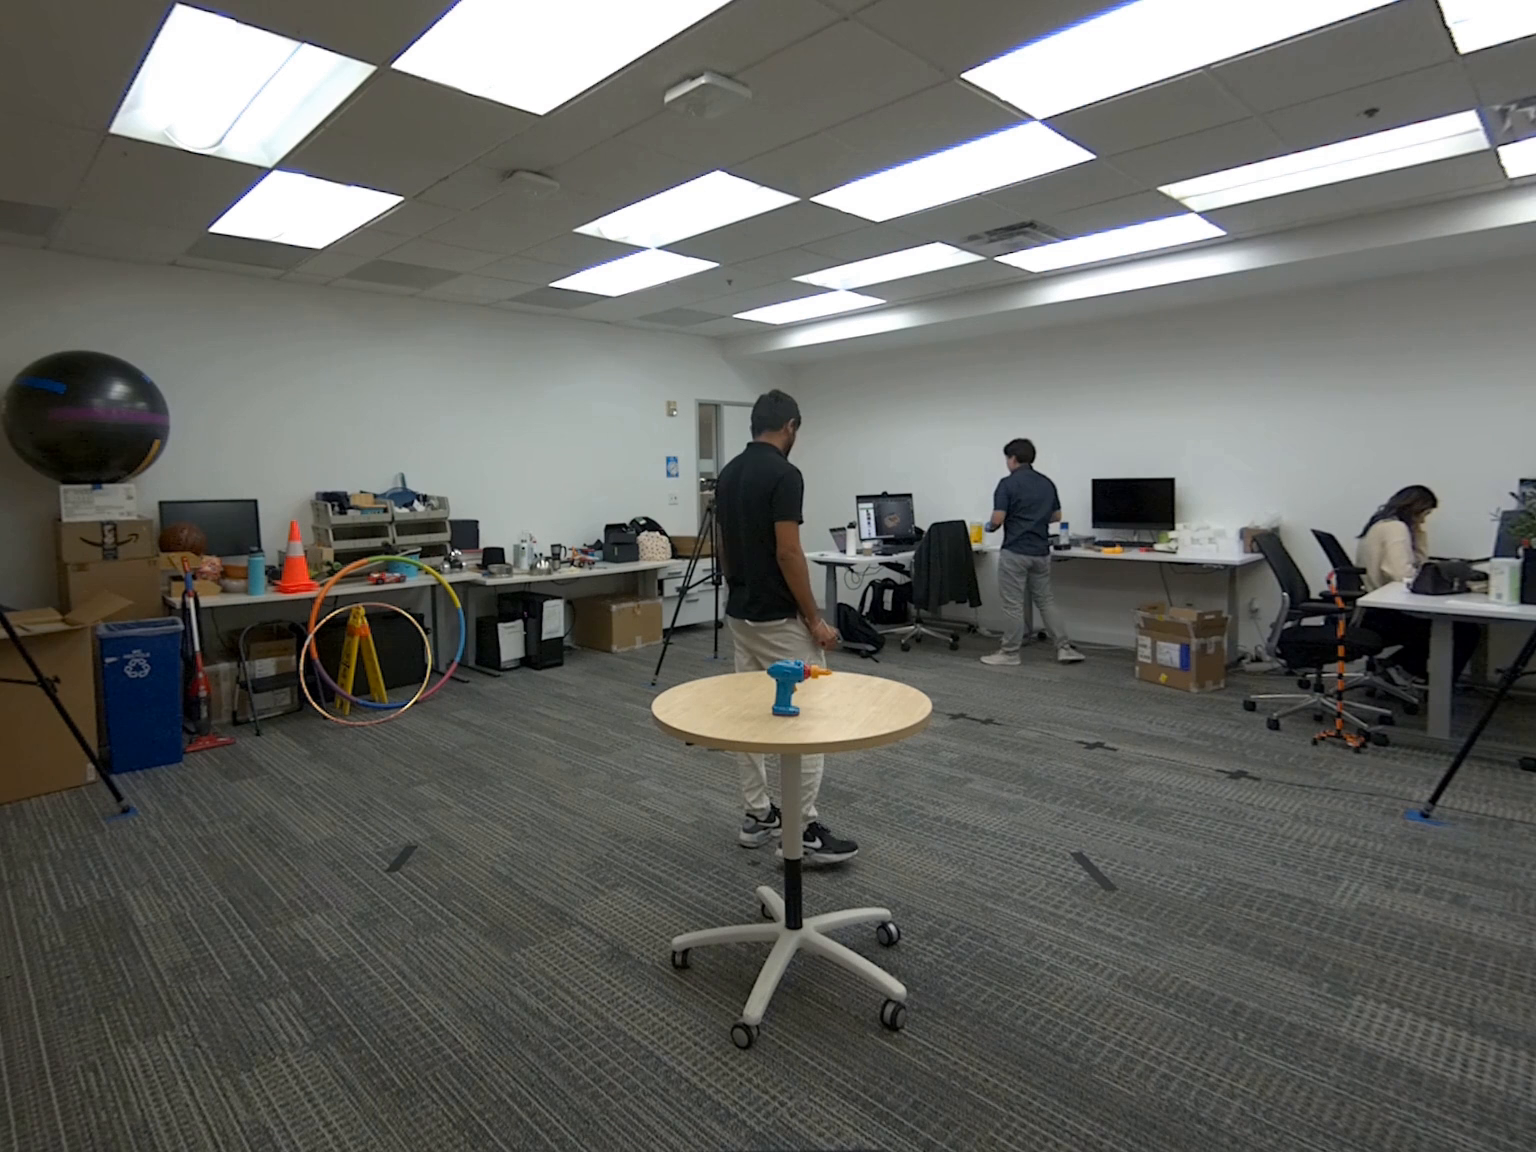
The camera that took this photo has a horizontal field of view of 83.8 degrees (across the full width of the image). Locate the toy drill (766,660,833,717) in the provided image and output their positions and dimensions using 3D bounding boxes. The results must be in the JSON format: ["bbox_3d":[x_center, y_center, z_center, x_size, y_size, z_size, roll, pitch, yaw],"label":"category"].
[{"bbox_3d":[0.093,0.290,2.217,0.171,0.145,0.061,-2,3,6],"label":"toy drill"}]
